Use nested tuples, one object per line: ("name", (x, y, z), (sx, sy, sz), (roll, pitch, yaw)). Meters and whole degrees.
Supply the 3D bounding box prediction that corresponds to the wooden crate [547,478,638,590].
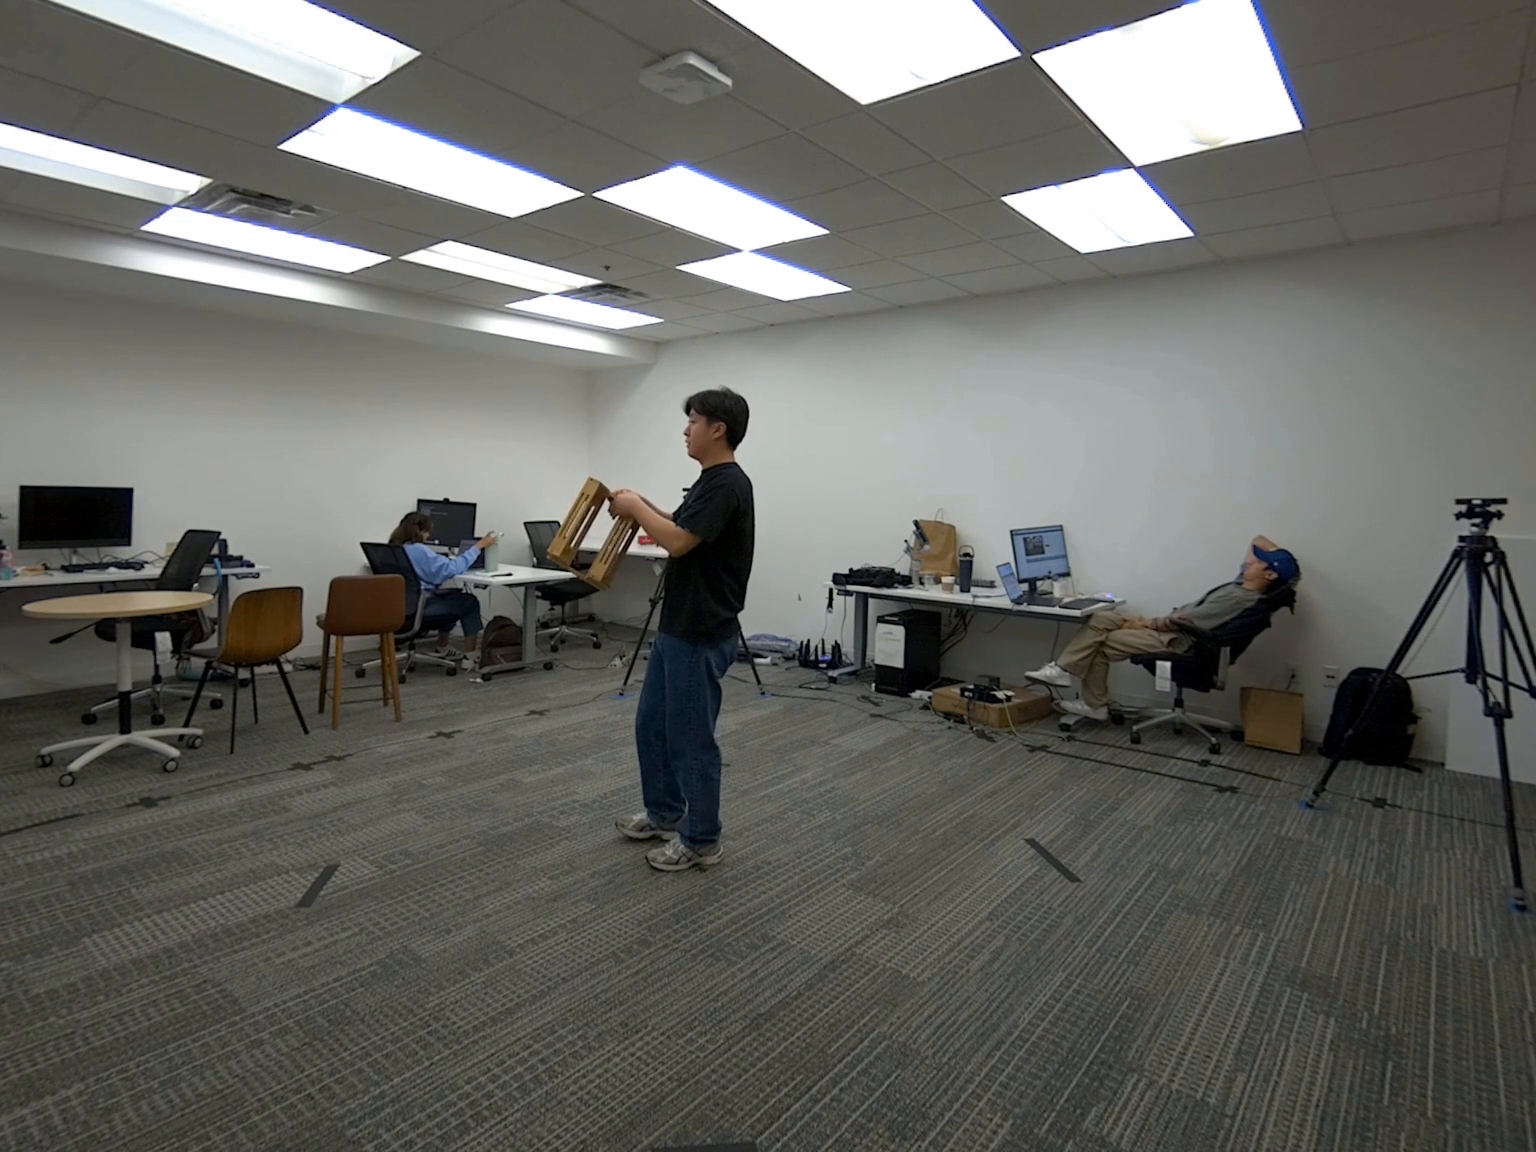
("wooden crate", (-0.633, -0.152, 3.128), (0.269, 0.326, 0.305), (29, -11, -11))
